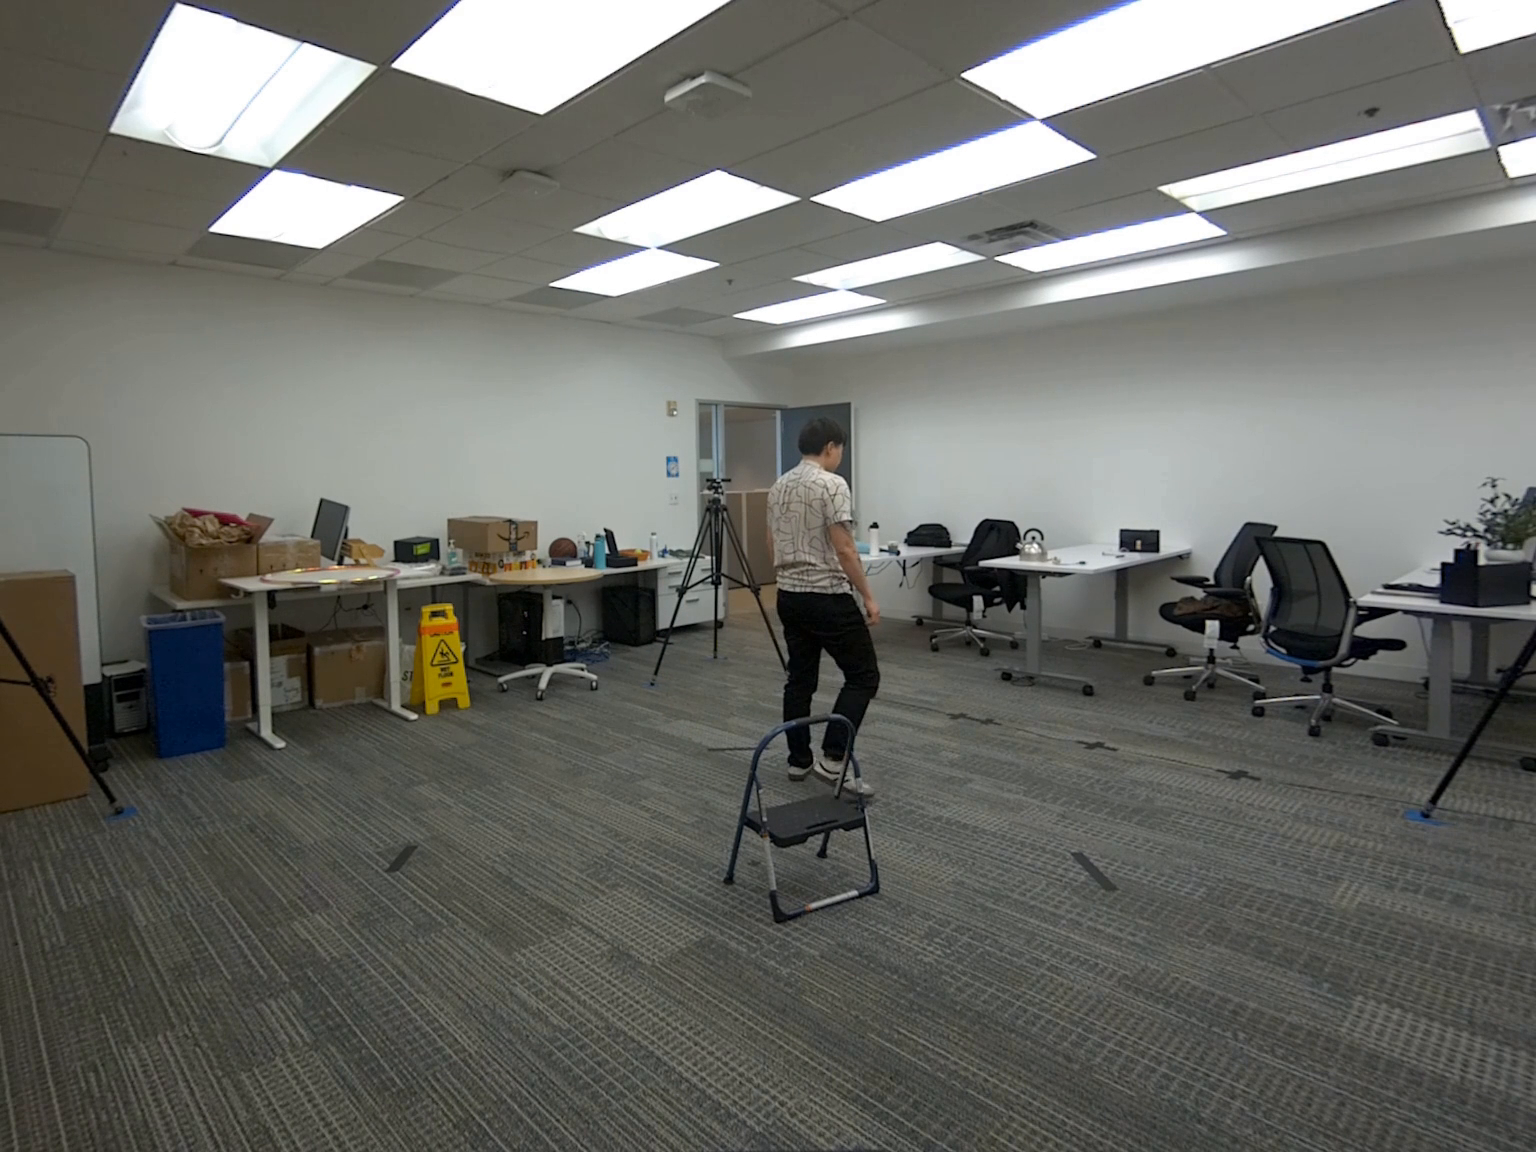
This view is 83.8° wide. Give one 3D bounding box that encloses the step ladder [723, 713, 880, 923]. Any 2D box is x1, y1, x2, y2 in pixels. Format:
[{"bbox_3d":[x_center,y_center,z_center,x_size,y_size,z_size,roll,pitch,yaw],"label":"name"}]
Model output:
[{"bbox_3d":[0.108,0.759,2.901,0.420,0.603,0.359,-4,6,-31],"label":"step ladder"}]
